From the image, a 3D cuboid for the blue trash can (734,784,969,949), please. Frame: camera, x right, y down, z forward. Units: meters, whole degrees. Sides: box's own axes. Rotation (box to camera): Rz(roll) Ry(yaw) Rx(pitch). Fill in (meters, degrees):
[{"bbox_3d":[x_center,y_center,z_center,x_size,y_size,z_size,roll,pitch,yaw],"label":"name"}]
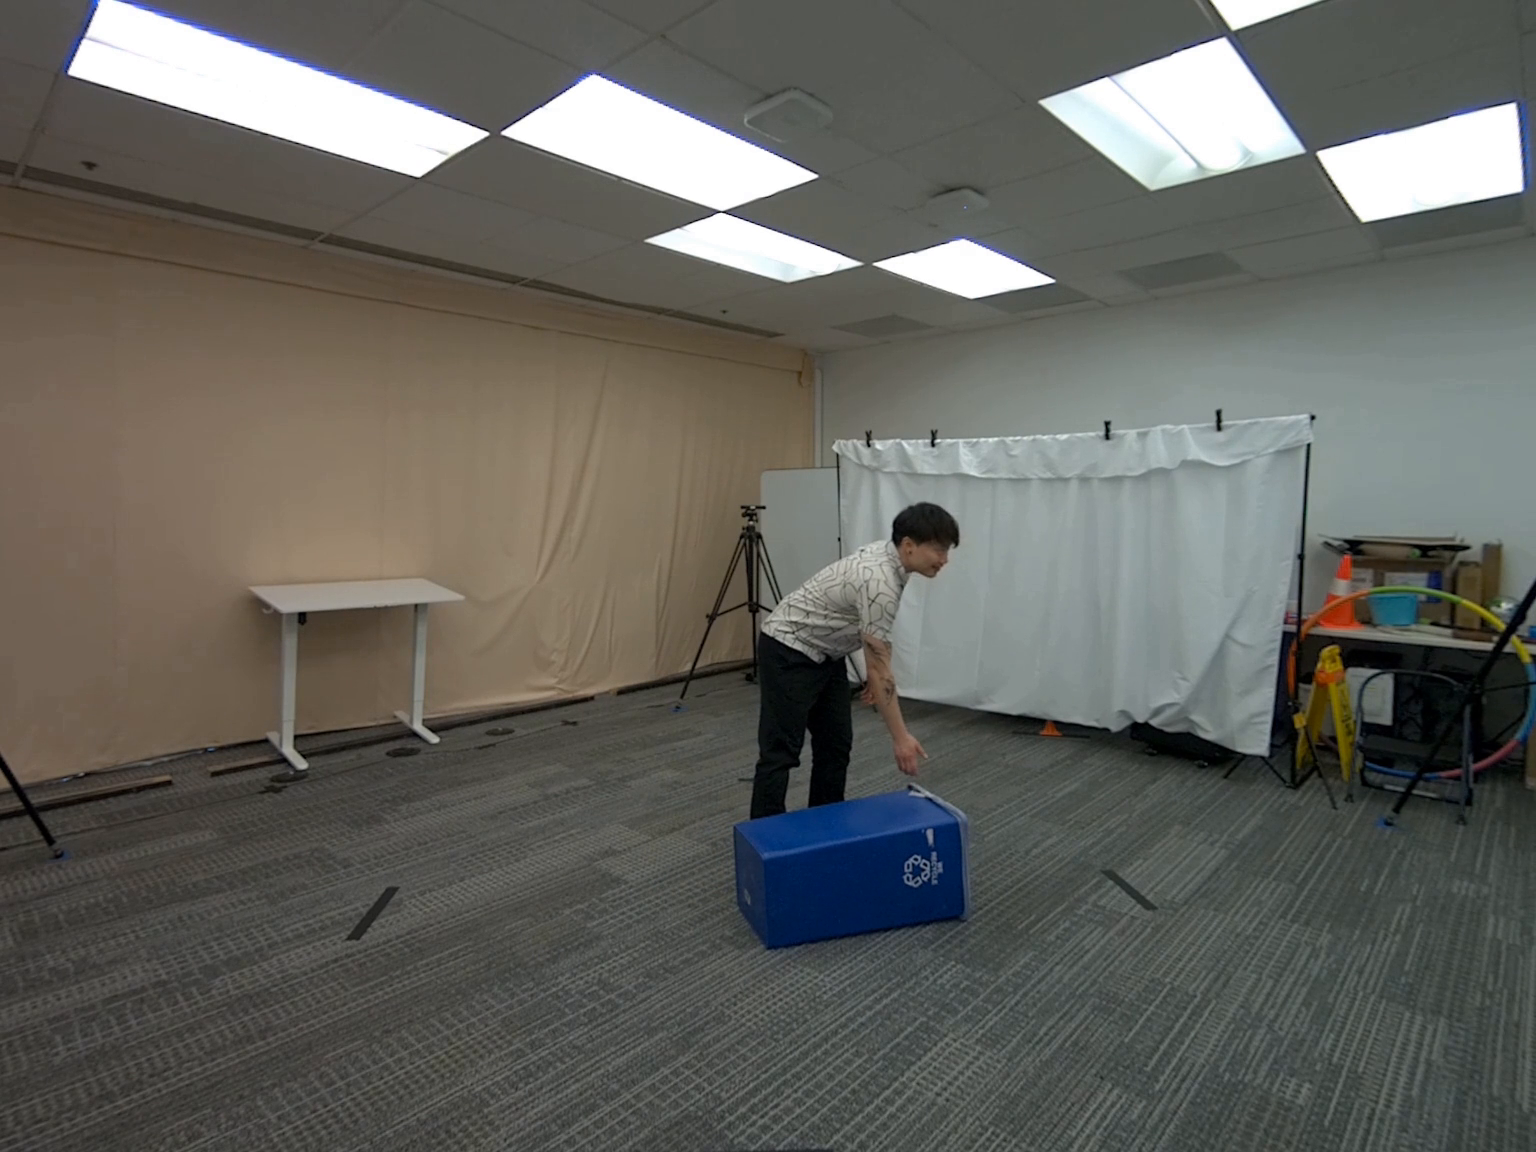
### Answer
[{"bbox_3d":[0.274,0.985,2.871,0.702,0.373,0.385,-5,4,-17],"label":"blue trash can"}]
